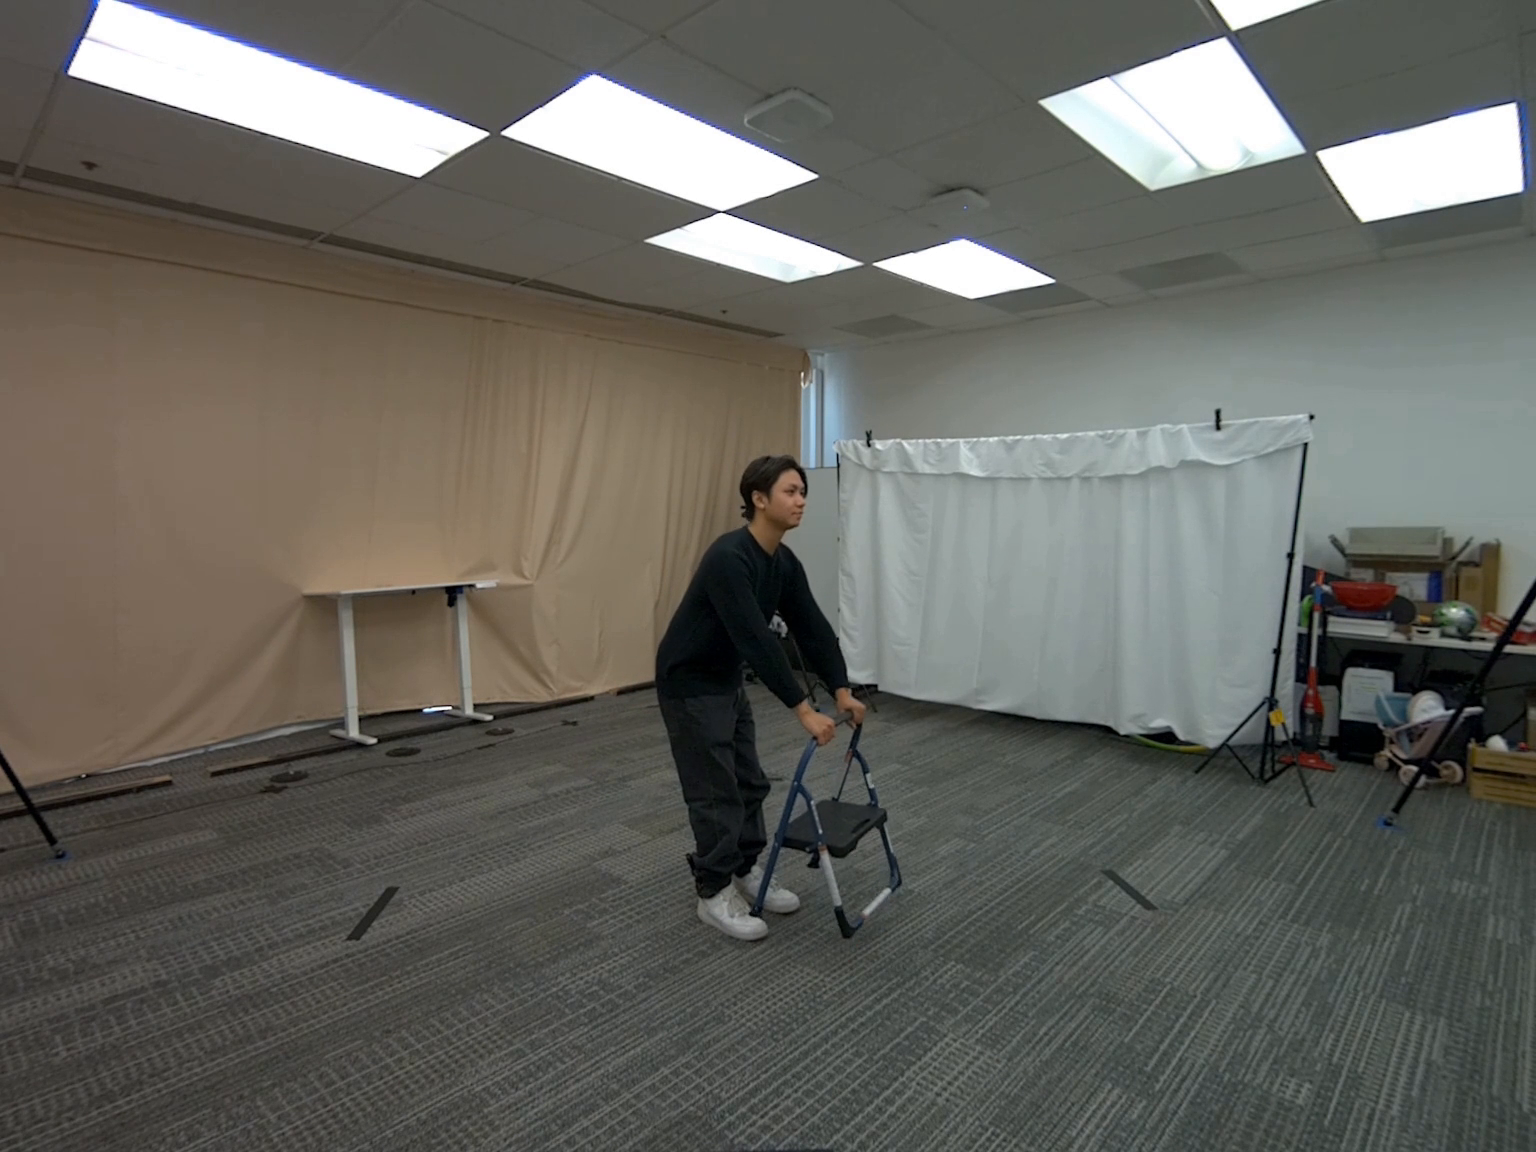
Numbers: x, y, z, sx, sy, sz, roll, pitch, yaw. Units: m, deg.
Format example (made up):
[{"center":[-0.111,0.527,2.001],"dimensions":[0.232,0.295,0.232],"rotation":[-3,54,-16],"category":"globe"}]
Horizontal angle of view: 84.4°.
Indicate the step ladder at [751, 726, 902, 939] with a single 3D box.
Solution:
[{"center":[0.187,0.742,2.694],"dimensions":[0.359,0.605,0.419],"rotation":[-2,3,32],"category":"step ladder"}]
